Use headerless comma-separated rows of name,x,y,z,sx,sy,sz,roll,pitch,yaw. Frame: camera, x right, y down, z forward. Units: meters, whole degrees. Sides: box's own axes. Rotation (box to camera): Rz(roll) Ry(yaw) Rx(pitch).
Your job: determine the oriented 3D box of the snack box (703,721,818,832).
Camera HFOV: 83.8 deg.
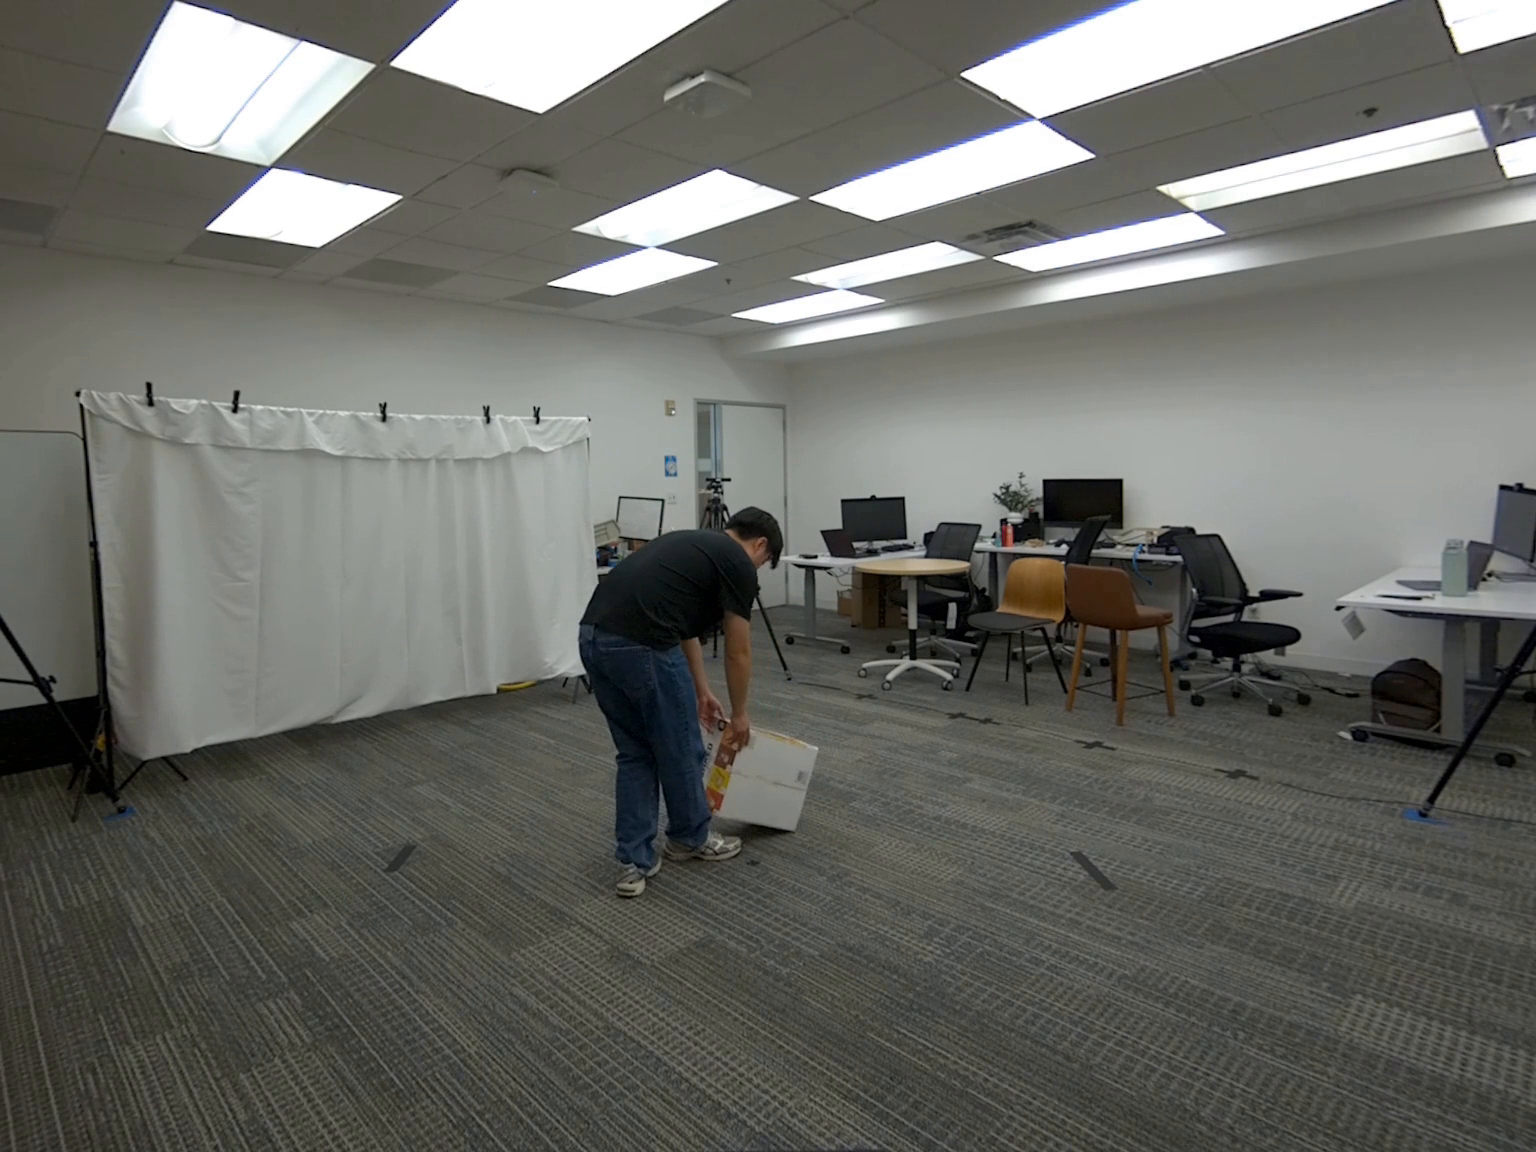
snack box,-0.052,0.779,3.365,0.391,0.342,0.212,22,-9,-35
